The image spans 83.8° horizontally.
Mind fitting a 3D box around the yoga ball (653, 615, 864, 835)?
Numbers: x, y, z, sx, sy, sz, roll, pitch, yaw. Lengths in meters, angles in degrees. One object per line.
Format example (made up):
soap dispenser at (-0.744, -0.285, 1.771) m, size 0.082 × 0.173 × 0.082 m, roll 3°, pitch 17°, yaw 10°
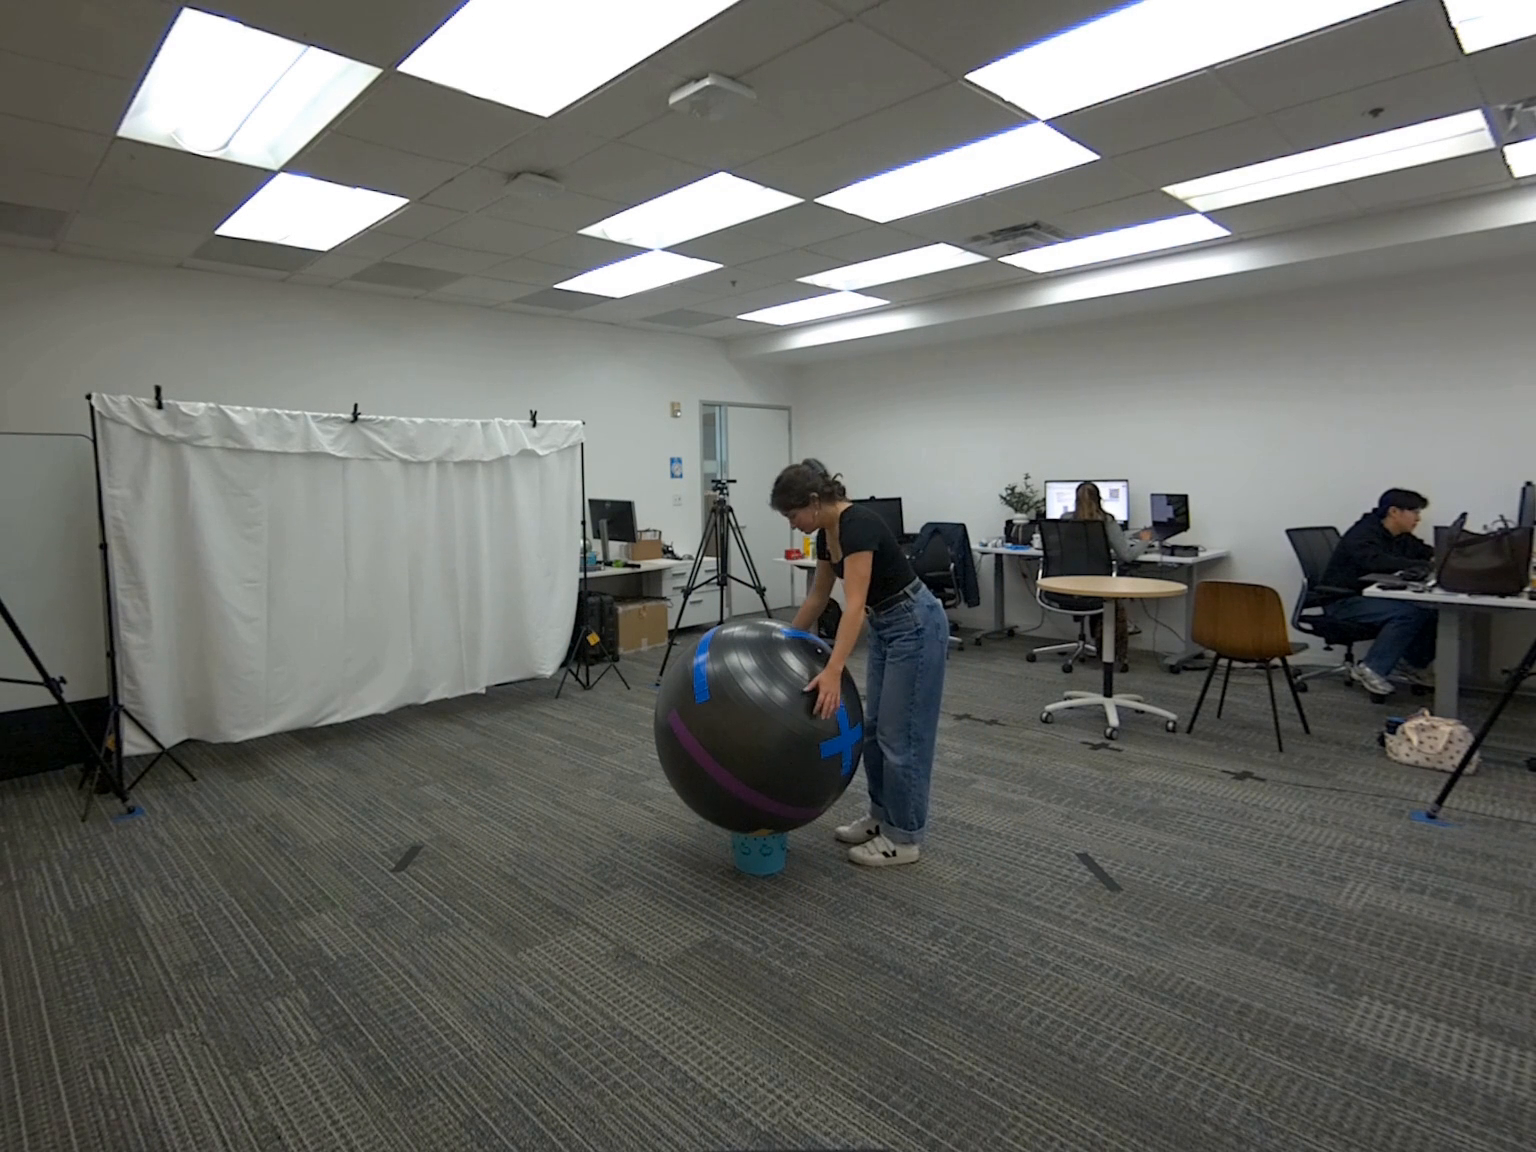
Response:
yoga ball at (-0.035, 0.538, 3.084) m, size 0.757 × 0.755 × 0.762 m, roll -1°, pitch 5°, yaw -2°
